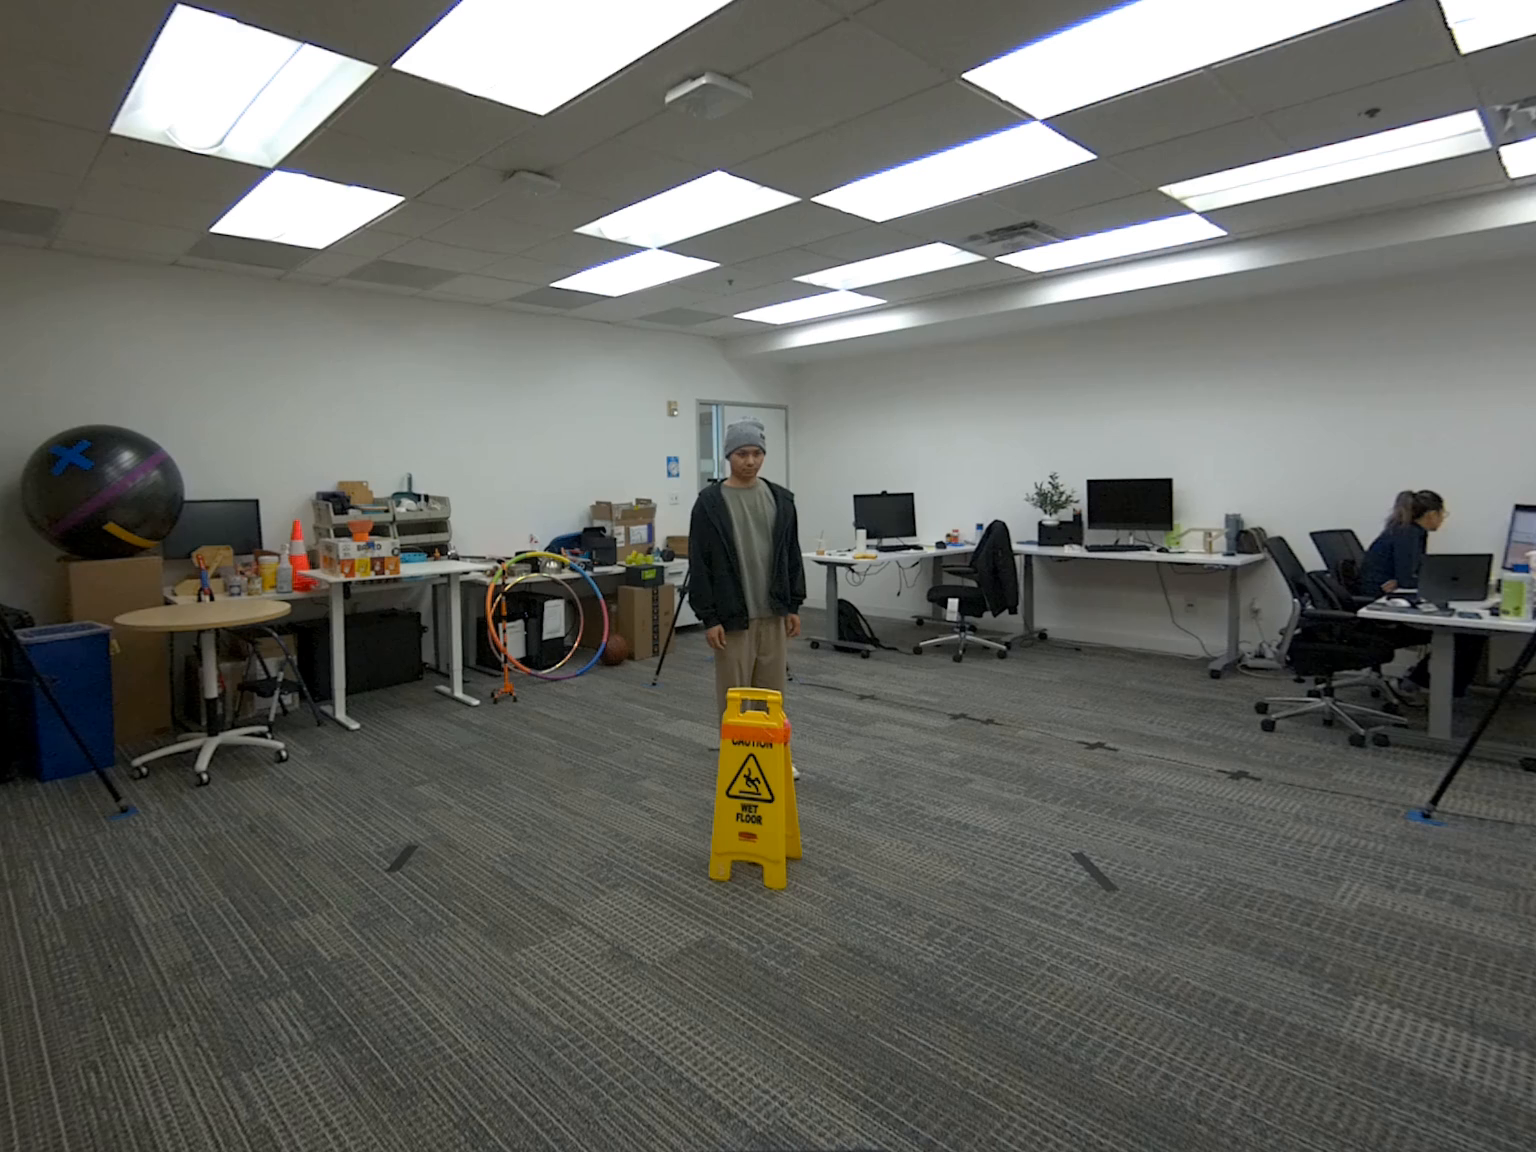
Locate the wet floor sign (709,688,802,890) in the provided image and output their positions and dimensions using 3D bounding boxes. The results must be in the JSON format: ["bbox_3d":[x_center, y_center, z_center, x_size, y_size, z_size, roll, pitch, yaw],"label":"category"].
[{"bbox_3d":[-0.049,0.728,3.045,0.287,0.643,0.286,0,5,17],"label":"wet floor sign"}]
